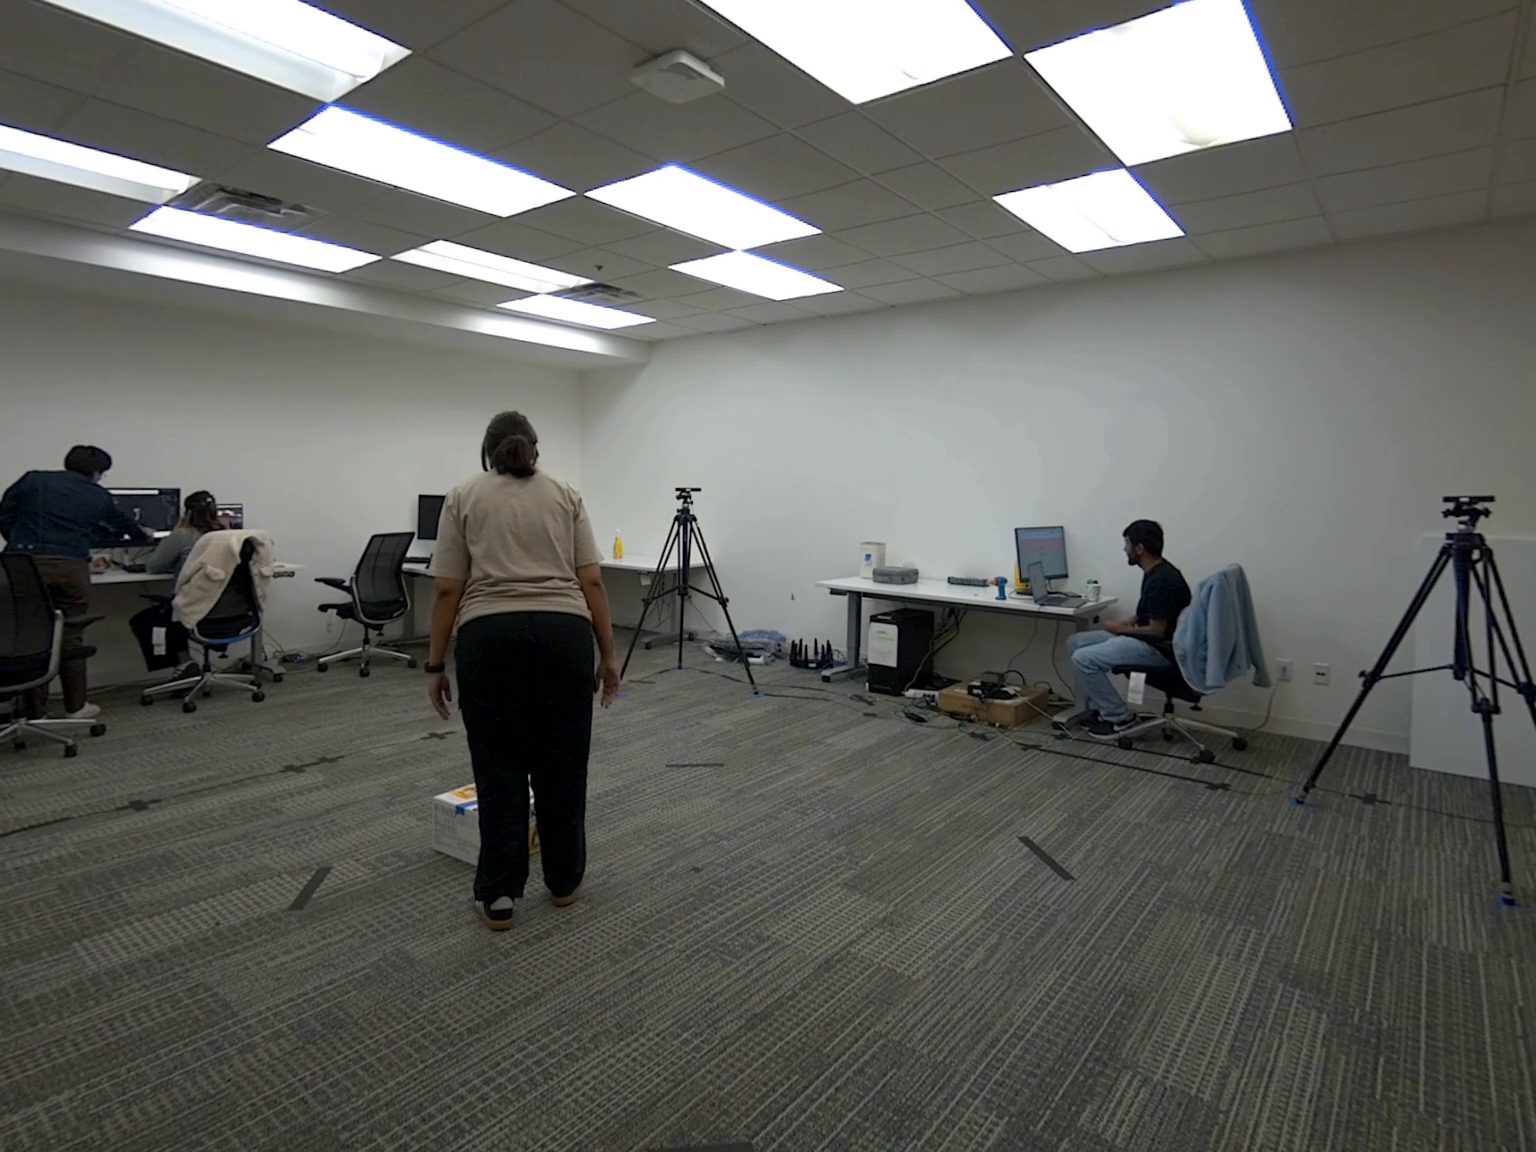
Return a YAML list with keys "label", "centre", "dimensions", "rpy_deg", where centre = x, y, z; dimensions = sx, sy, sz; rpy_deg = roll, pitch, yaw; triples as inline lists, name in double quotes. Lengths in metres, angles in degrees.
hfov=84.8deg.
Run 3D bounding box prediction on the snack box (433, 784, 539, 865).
- label: "snack box"
  centre: [-1.037, 0.936, 3.297]
  dimensions: [0.351, 0.205, 0.394]
  rpy_deg: [4, 6, 33]
